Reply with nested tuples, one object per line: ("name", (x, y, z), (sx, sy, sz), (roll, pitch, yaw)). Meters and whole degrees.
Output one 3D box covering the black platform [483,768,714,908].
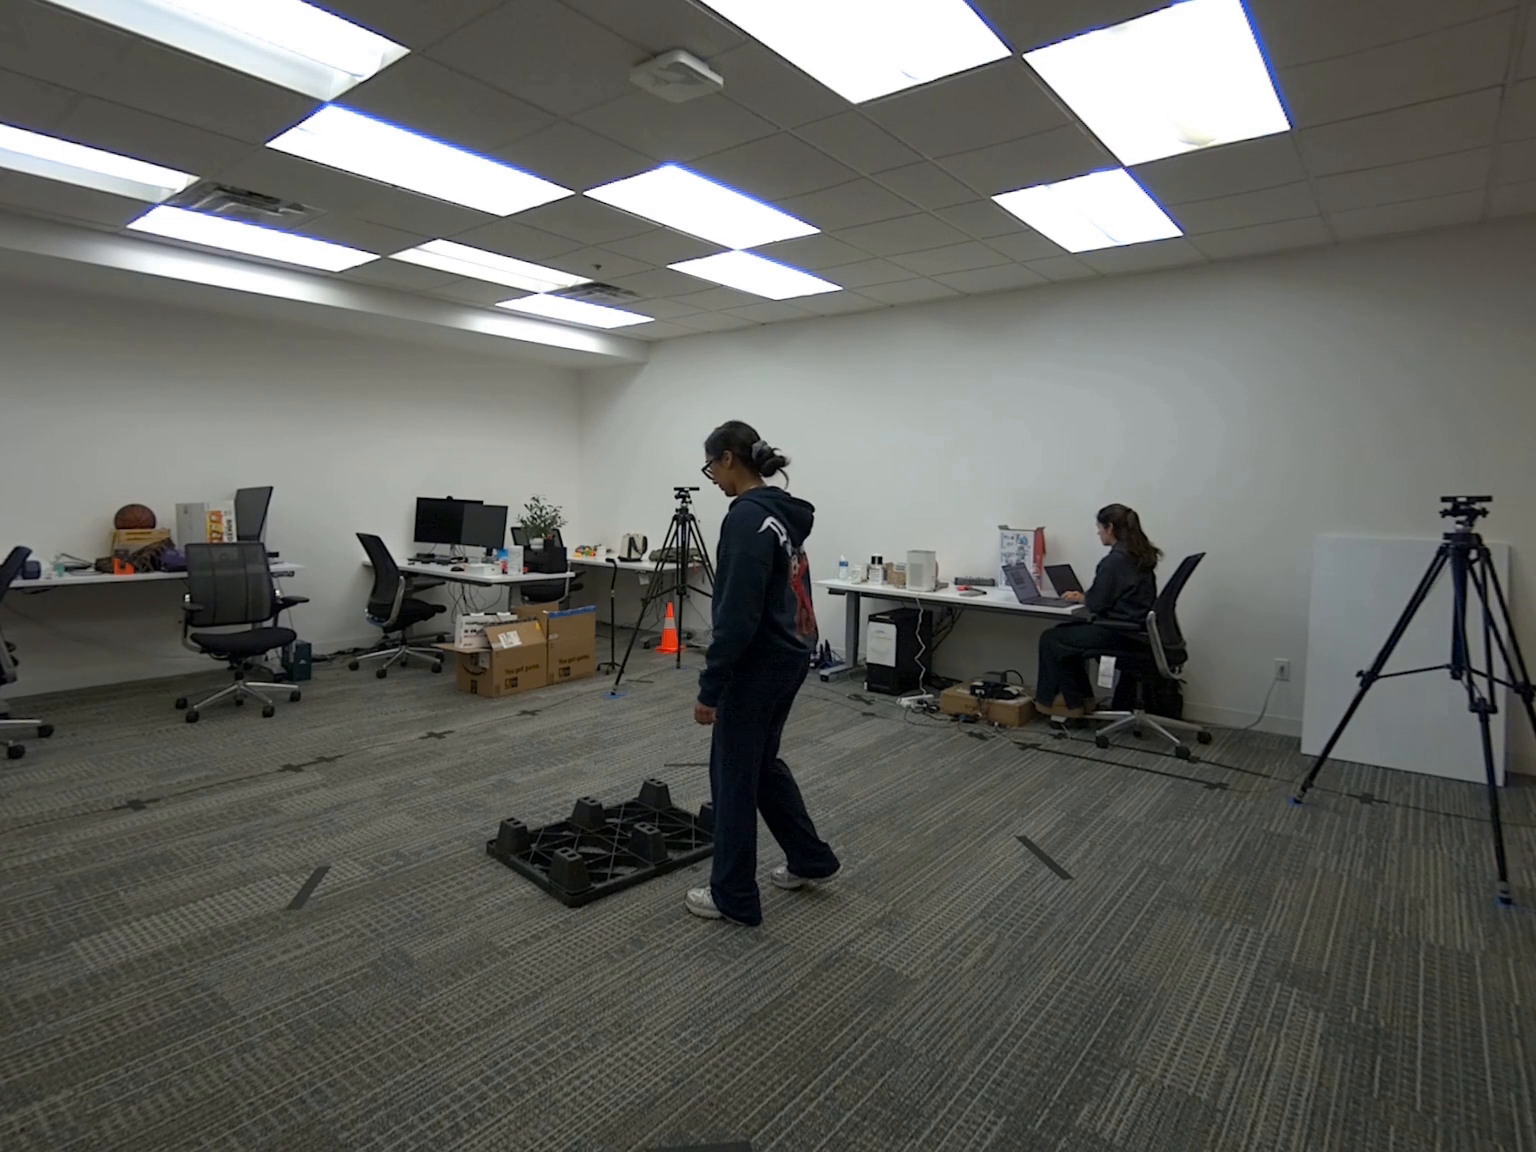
("black platform", (-0.589, 0.973, 3.262), (0.626, 0.143, 0.781), (5, 7, 45))
